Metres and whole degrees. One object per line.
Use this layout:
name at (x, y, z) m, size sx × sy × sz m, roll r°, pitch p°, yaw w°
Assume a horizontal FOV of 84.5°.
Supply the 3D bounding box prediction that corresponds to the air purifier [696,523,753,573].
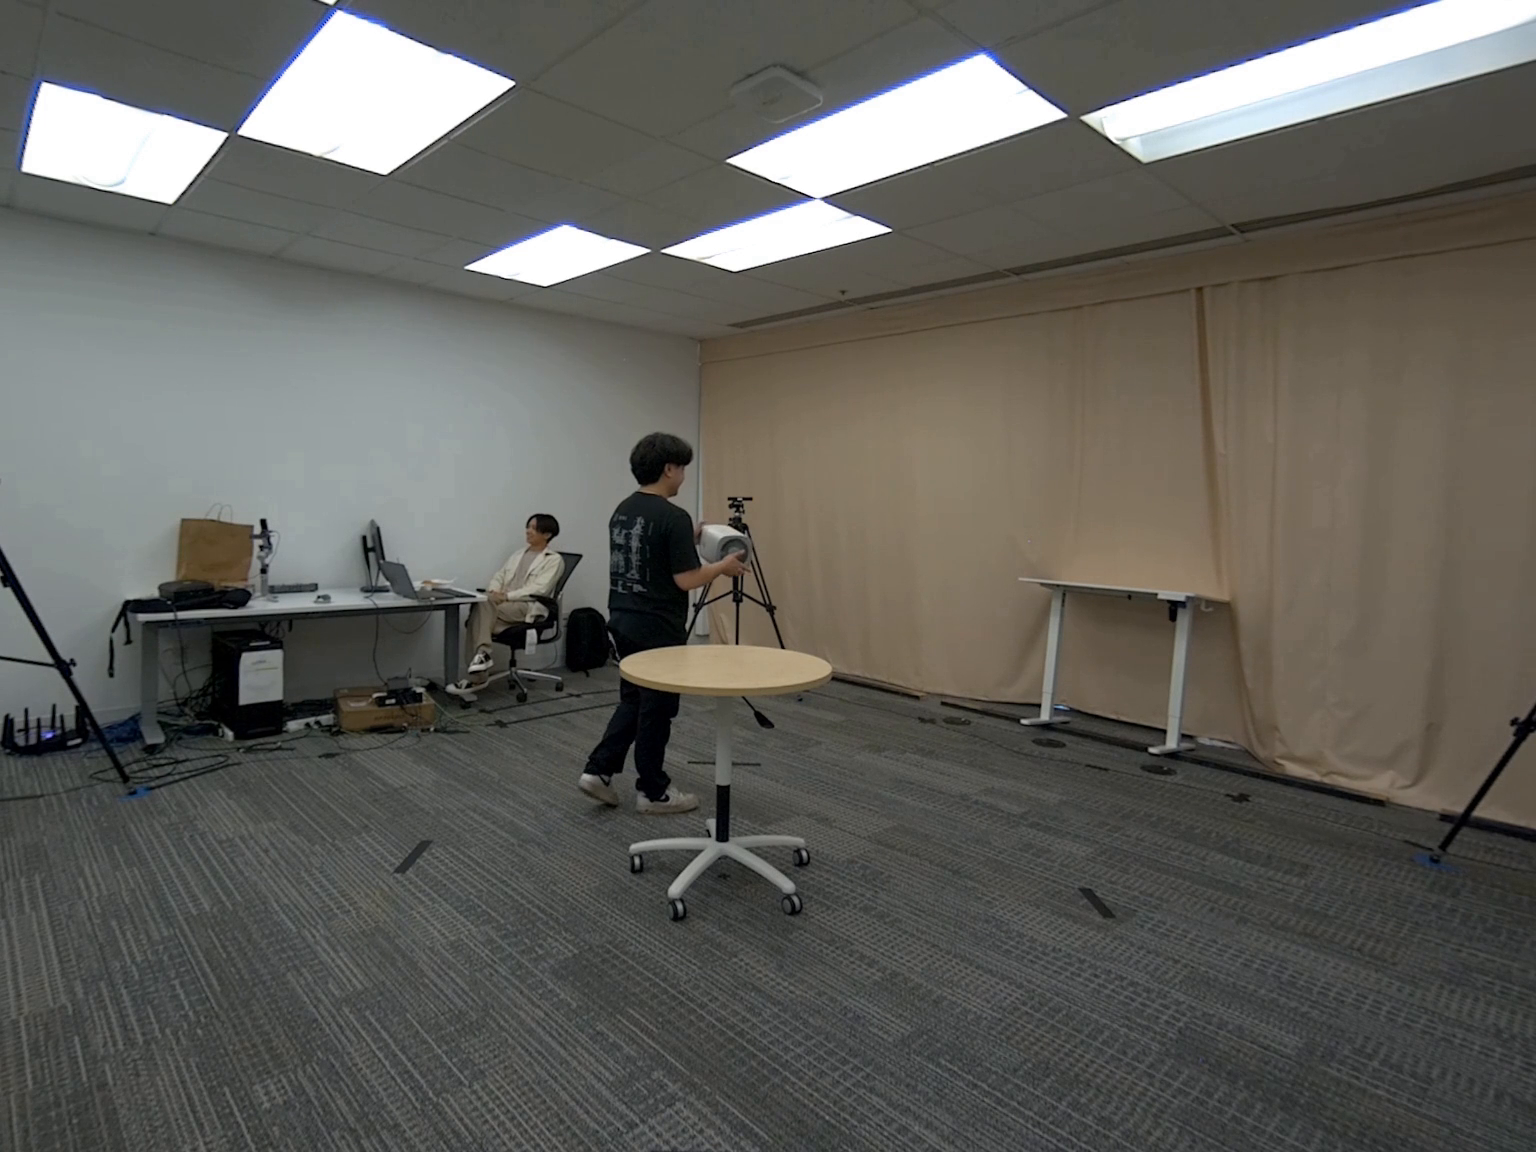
air purifier at (-0.211, -0.132, 3.893) m, size 0.169 × 0.169 × 0.272 m, roll -2°, pitch 15°, yaw -23°
